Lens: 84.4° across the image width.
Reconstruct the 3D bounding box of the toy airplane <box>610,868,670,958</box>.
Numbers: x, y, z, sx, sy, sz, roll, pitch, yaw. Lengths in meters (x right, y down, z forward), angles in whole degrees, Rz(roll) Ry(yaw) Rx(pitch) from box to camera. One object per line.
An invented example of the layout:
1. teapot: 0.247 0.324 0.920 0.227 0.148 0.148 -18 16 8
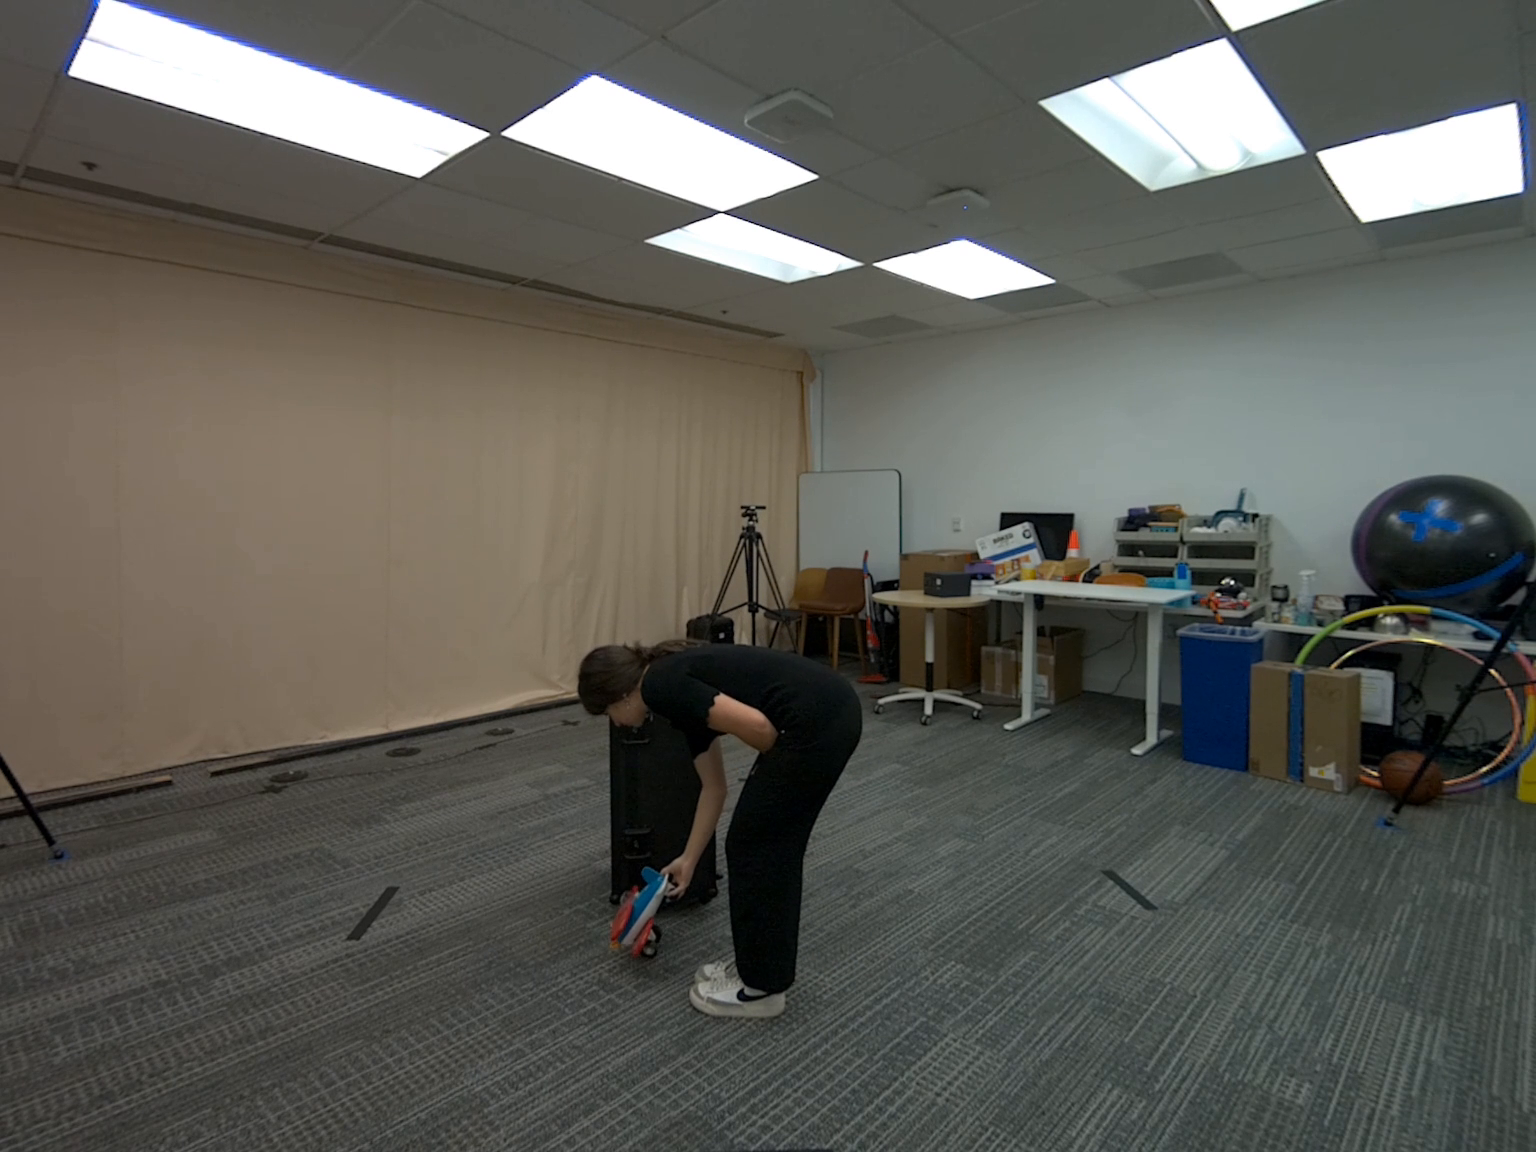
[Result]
1. toy airplane: -0.368 1.016 2.592 0.156 0.260 0.250 20 -22 -1
